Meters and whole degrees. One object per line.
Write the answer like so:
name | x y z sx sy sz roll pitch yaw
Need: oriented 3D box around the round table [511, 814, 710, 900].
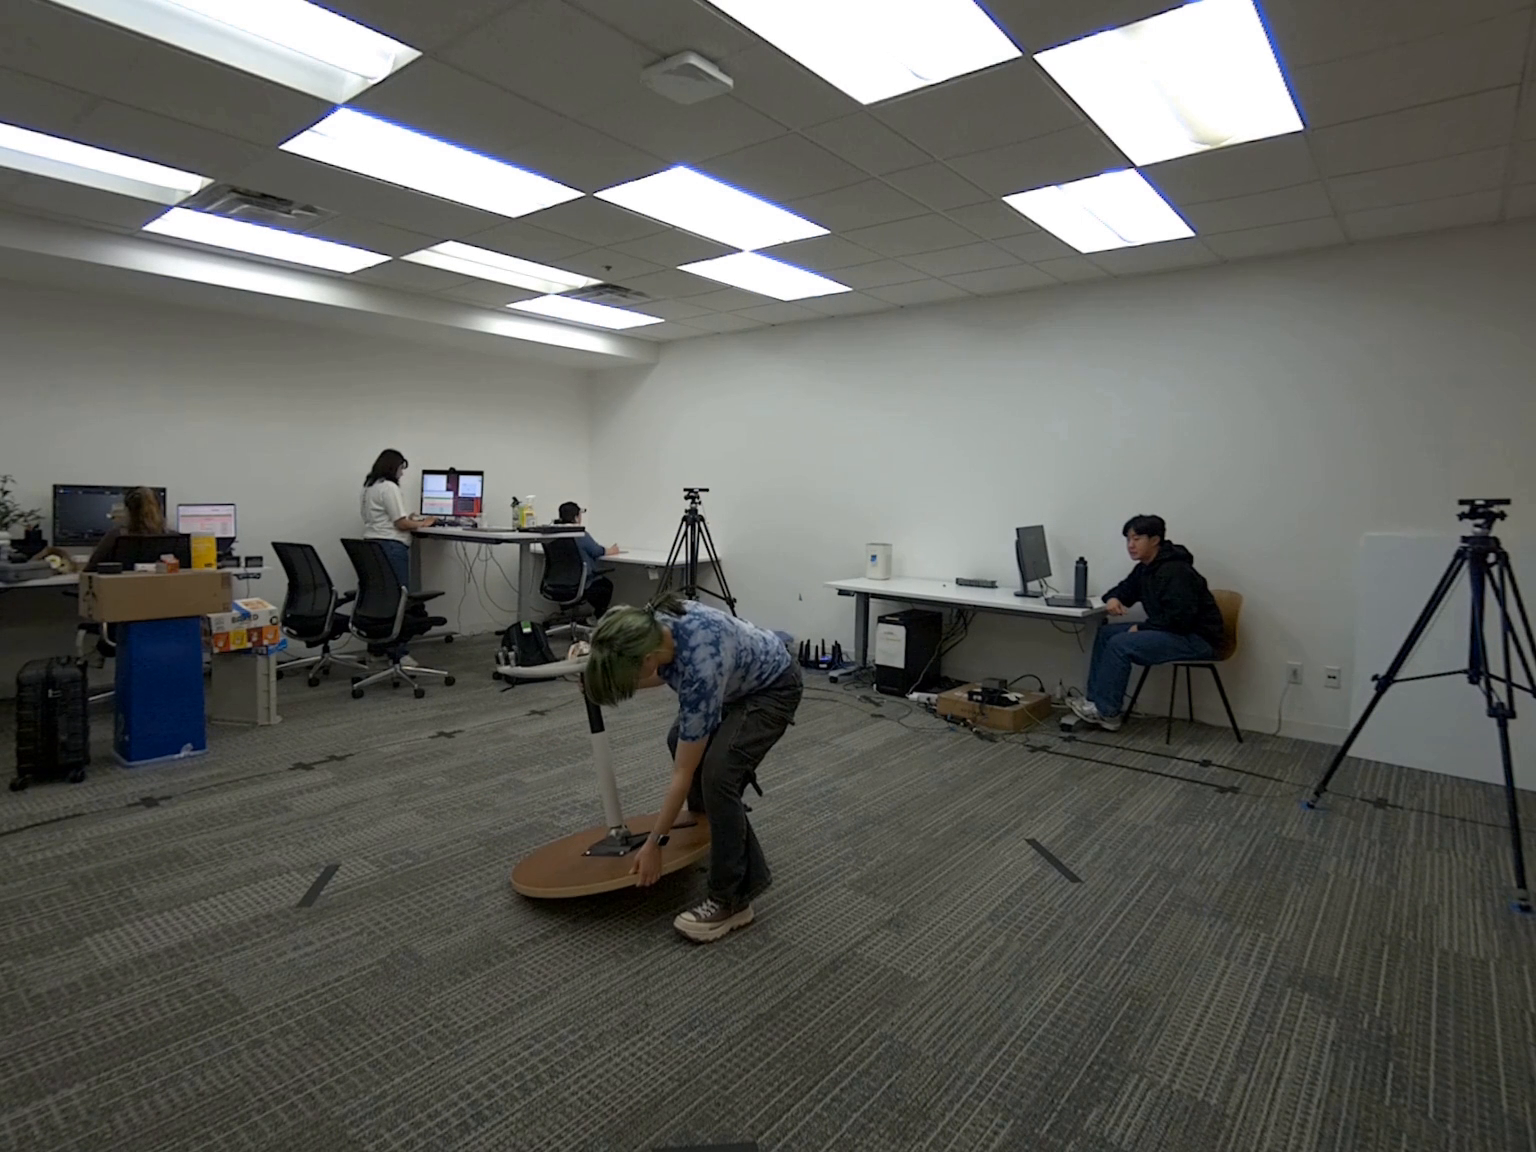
round table | -0.620 0.602 3.051 0.763 0.797 0.762 -11 -3 -2
